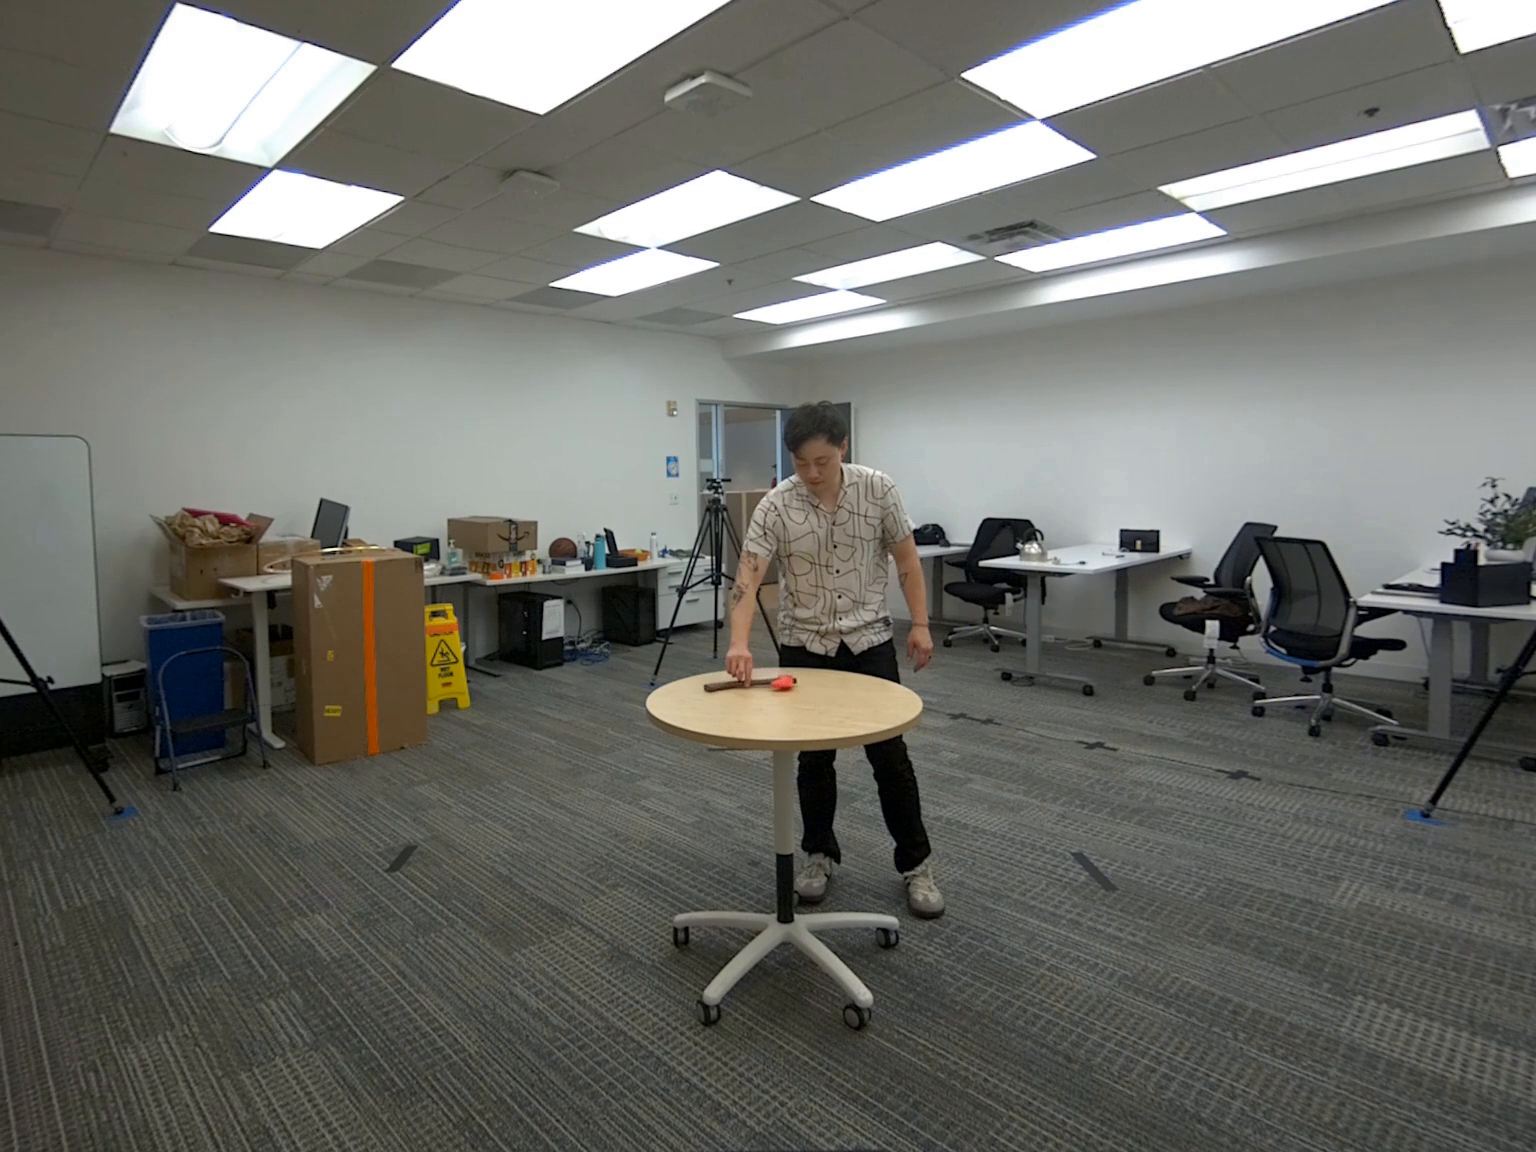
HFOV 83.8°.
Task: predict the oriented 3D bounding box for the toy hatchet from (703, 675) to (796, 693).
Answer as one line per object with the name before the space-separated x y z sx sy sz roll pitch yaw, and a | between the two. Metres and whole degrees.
toy hatchet | -0.035 0.319 2.489 0.265 0.029 0.134 -4 4 -22
